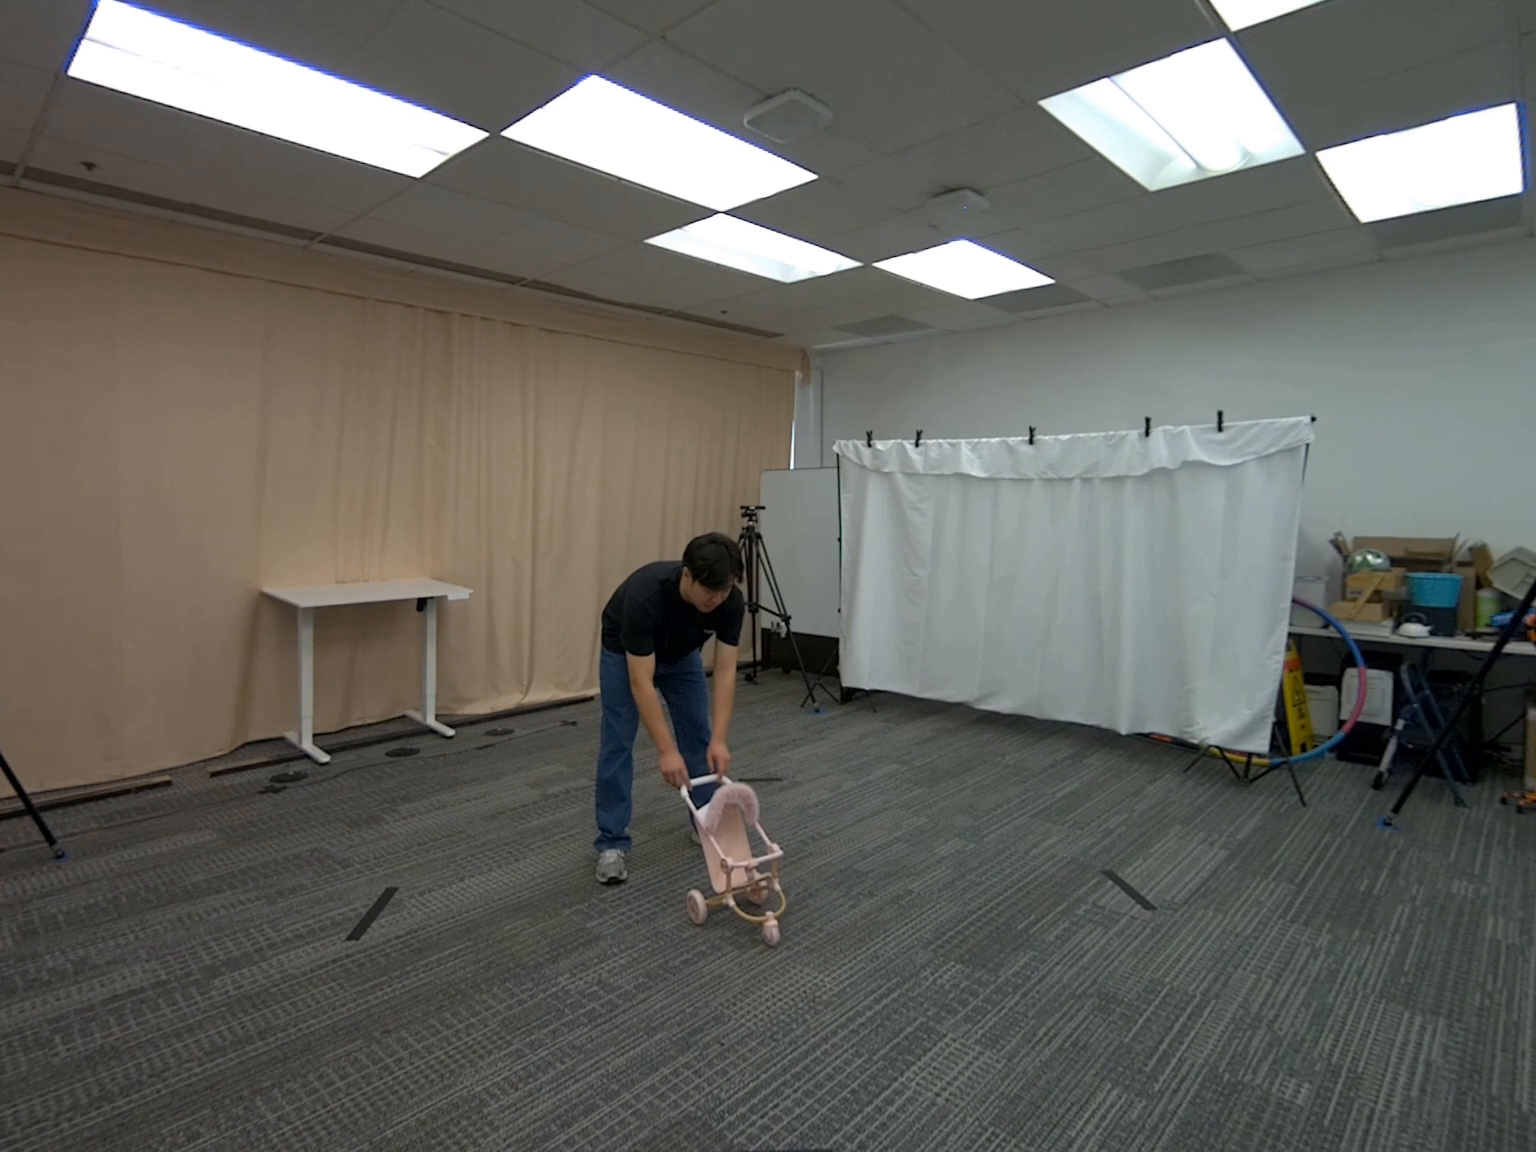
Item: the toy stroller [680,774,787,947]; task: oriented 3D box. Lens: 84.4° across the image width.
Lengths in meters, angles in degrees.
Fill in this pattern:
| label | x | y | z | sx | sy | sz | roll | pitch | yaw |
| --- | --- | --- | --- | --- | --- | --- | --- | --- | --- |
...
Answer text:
| label | x | y | z | sx | sy | sz | roll | pitch | yaw |
| --- | --- | --- | --- | --- | --- | --- | --- | --- | --- |
| toy stroller | -0.100 | 0.936 | 2.817 | 0.274 | 0.540 | 0.347 | -2 | -13 | -31 |
